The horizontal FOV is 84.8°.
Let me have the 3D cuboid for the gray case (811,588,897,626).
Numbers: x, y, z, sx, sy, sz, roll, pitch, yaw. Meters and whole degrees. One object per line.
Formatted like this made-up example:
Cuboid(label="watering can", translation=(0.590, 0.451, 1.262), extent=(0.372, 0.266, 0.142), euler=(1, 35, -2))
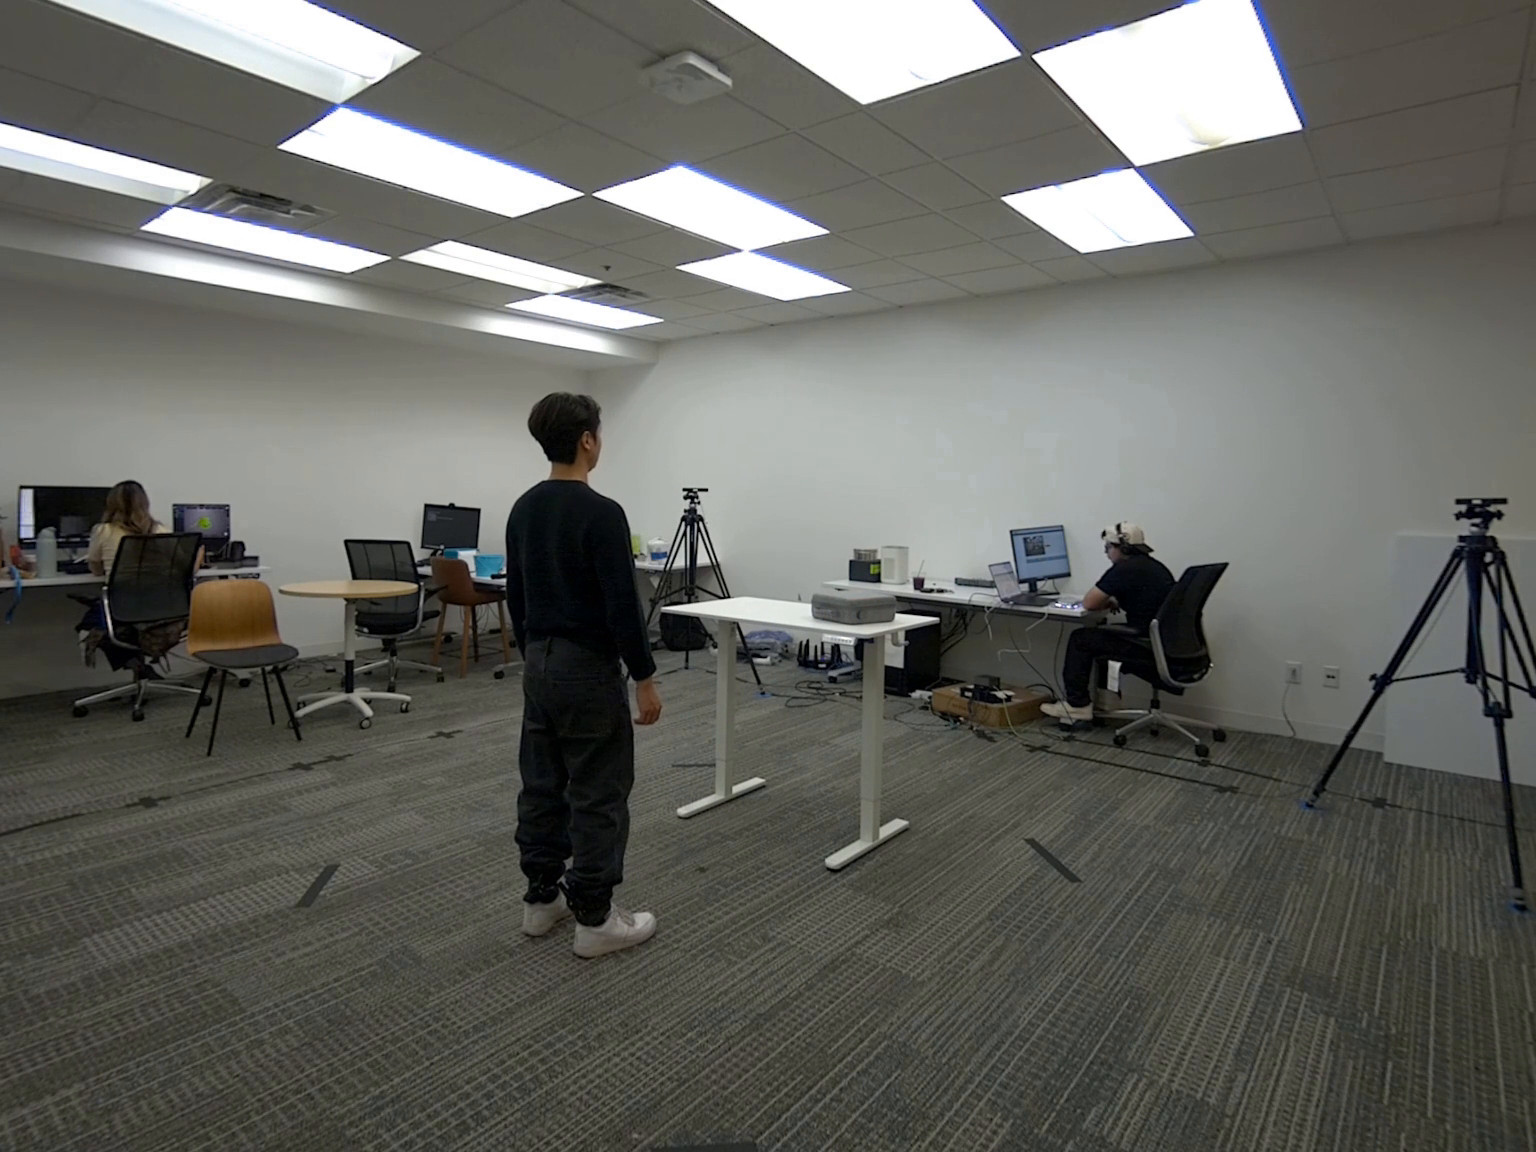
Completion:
Cuboid(label="gray case", translation=(0.330, 0.117, 3.369), extent=(0.253, 0.104, 0.265), euler=(-3, 7, -34))
